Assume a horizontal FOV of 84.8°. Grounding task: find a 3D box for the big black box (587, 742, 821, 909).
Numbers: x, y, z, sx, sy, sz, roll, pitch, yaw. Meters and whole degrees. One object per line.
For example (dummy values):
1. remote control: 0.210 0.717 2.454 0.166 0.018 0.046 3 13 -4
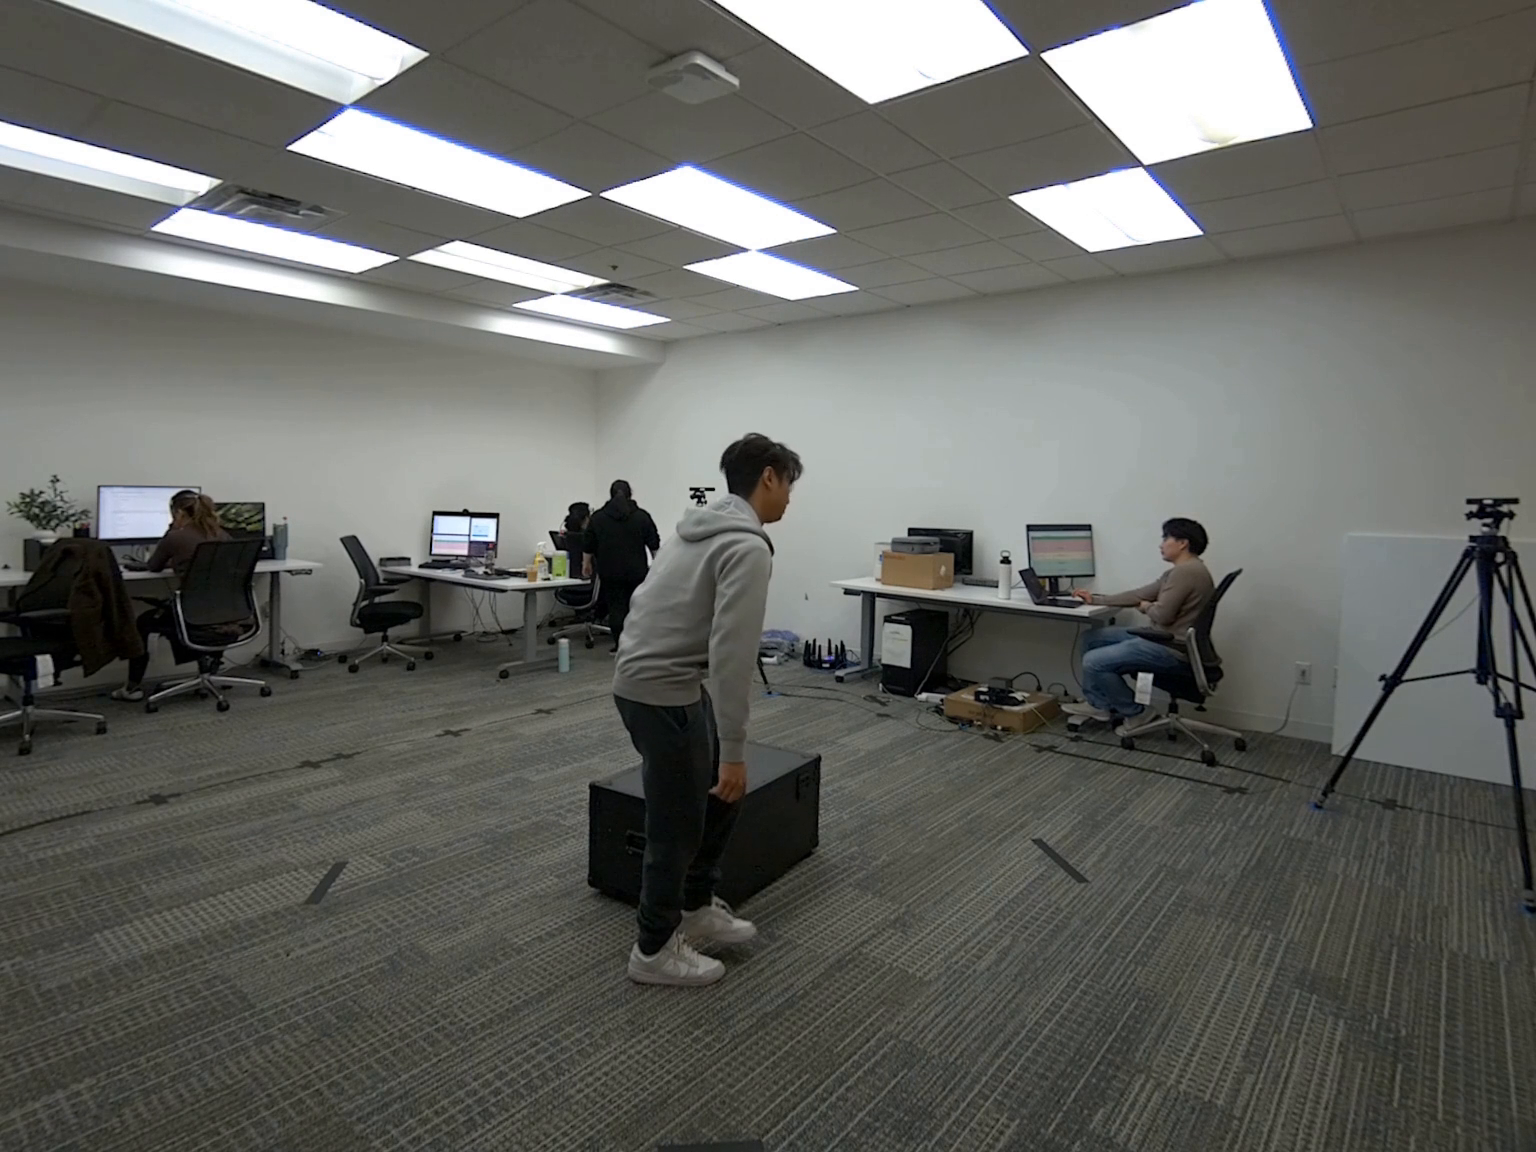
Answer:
1. big black box: -0.235 0.880 3.059 0.537 0.395 0.838 3 5 32
